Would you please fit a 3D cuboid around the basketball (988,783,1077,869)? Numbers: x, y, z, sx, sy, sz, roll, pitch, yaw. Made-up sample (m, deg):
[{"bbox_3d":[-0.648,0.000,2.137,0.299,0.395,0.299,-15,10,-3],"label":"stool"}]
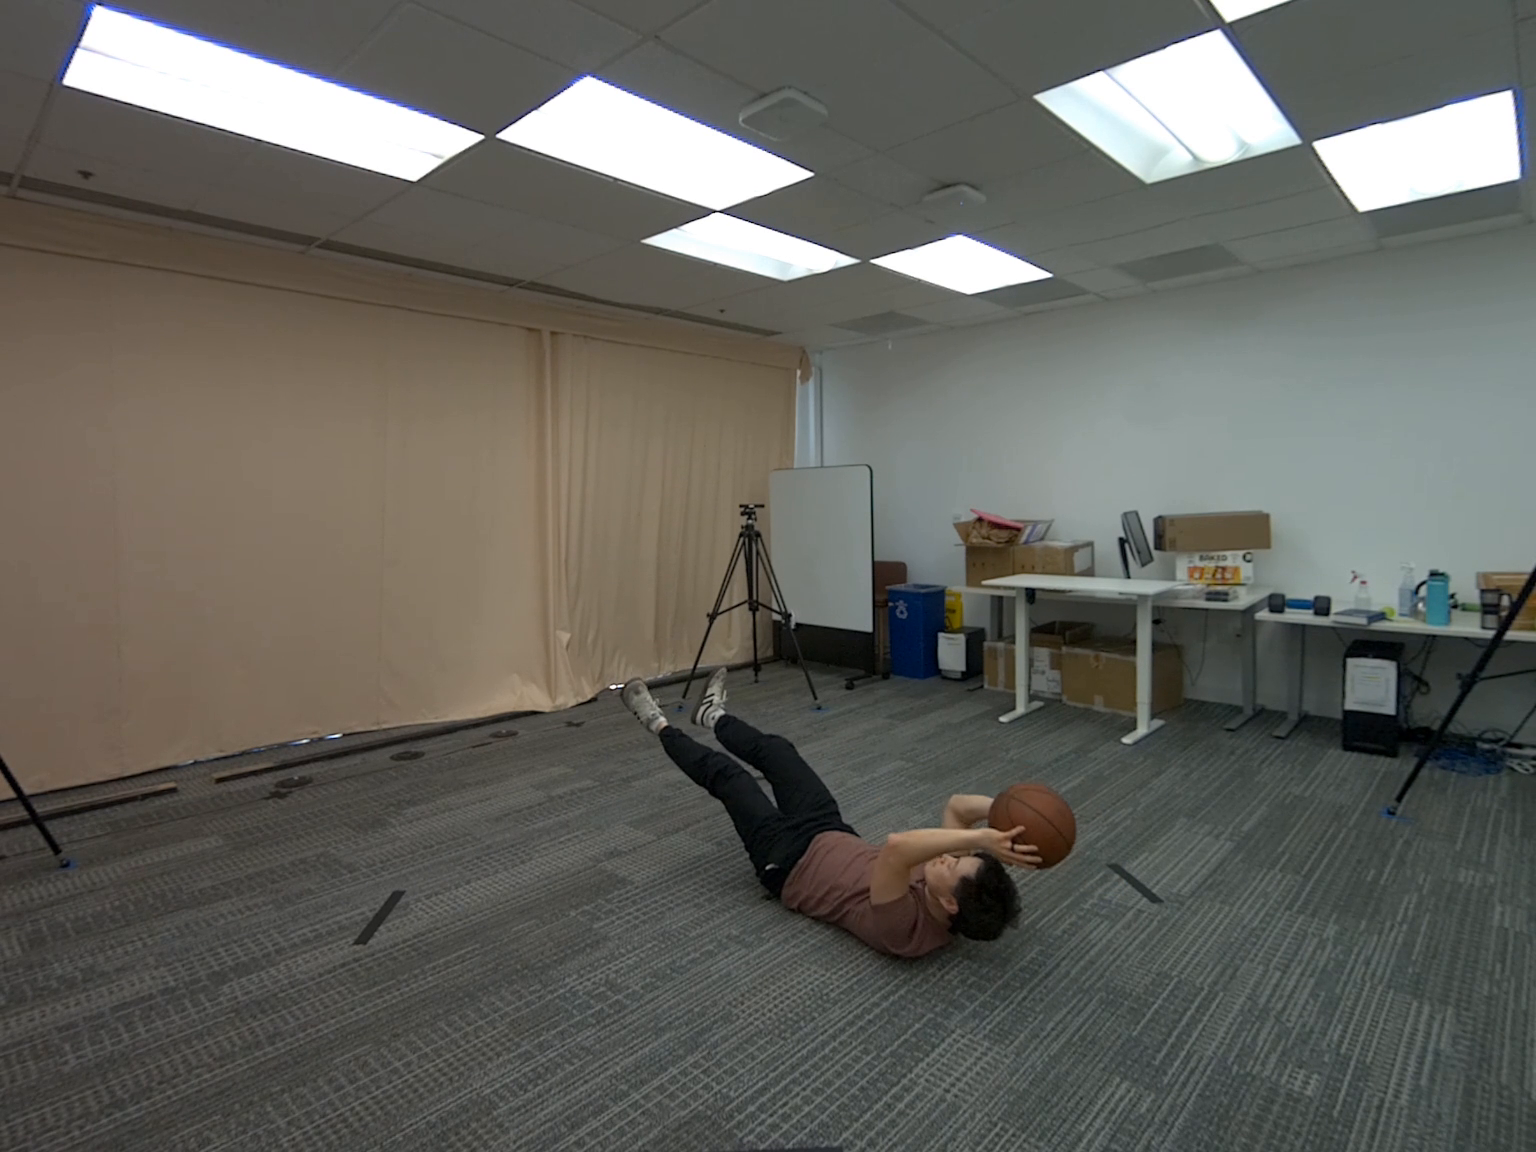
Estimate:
[{"bbox_3d":[0.752,0.710,2.390,0.236,0.235,0.236,-1,3,-2],"label":"basketball"}]
